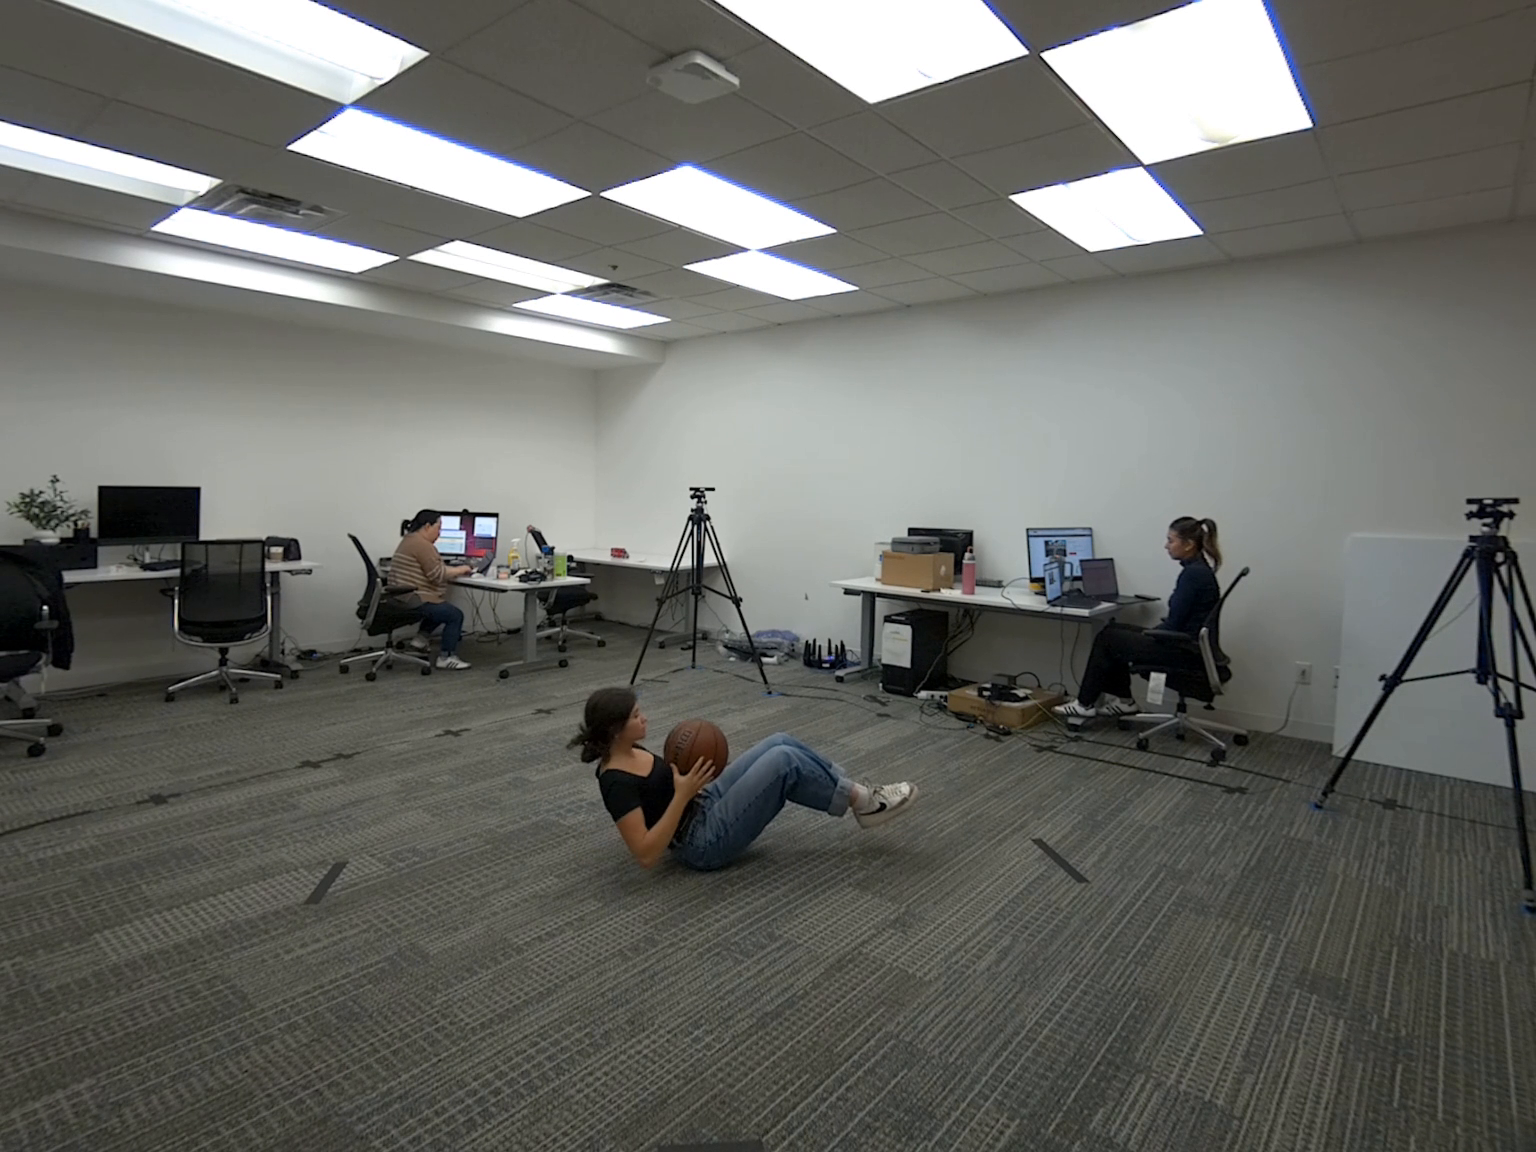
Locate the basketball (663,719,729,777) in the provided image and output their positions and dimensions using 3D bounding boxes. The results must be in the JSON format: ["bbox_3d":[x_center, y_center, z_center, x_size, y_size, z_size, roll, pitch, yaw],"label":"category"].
[{"bbox_3d":[-0.277,0.655,3.107,0.235,0.235,0.237,1,4,-2],"label":"basketball"}]
